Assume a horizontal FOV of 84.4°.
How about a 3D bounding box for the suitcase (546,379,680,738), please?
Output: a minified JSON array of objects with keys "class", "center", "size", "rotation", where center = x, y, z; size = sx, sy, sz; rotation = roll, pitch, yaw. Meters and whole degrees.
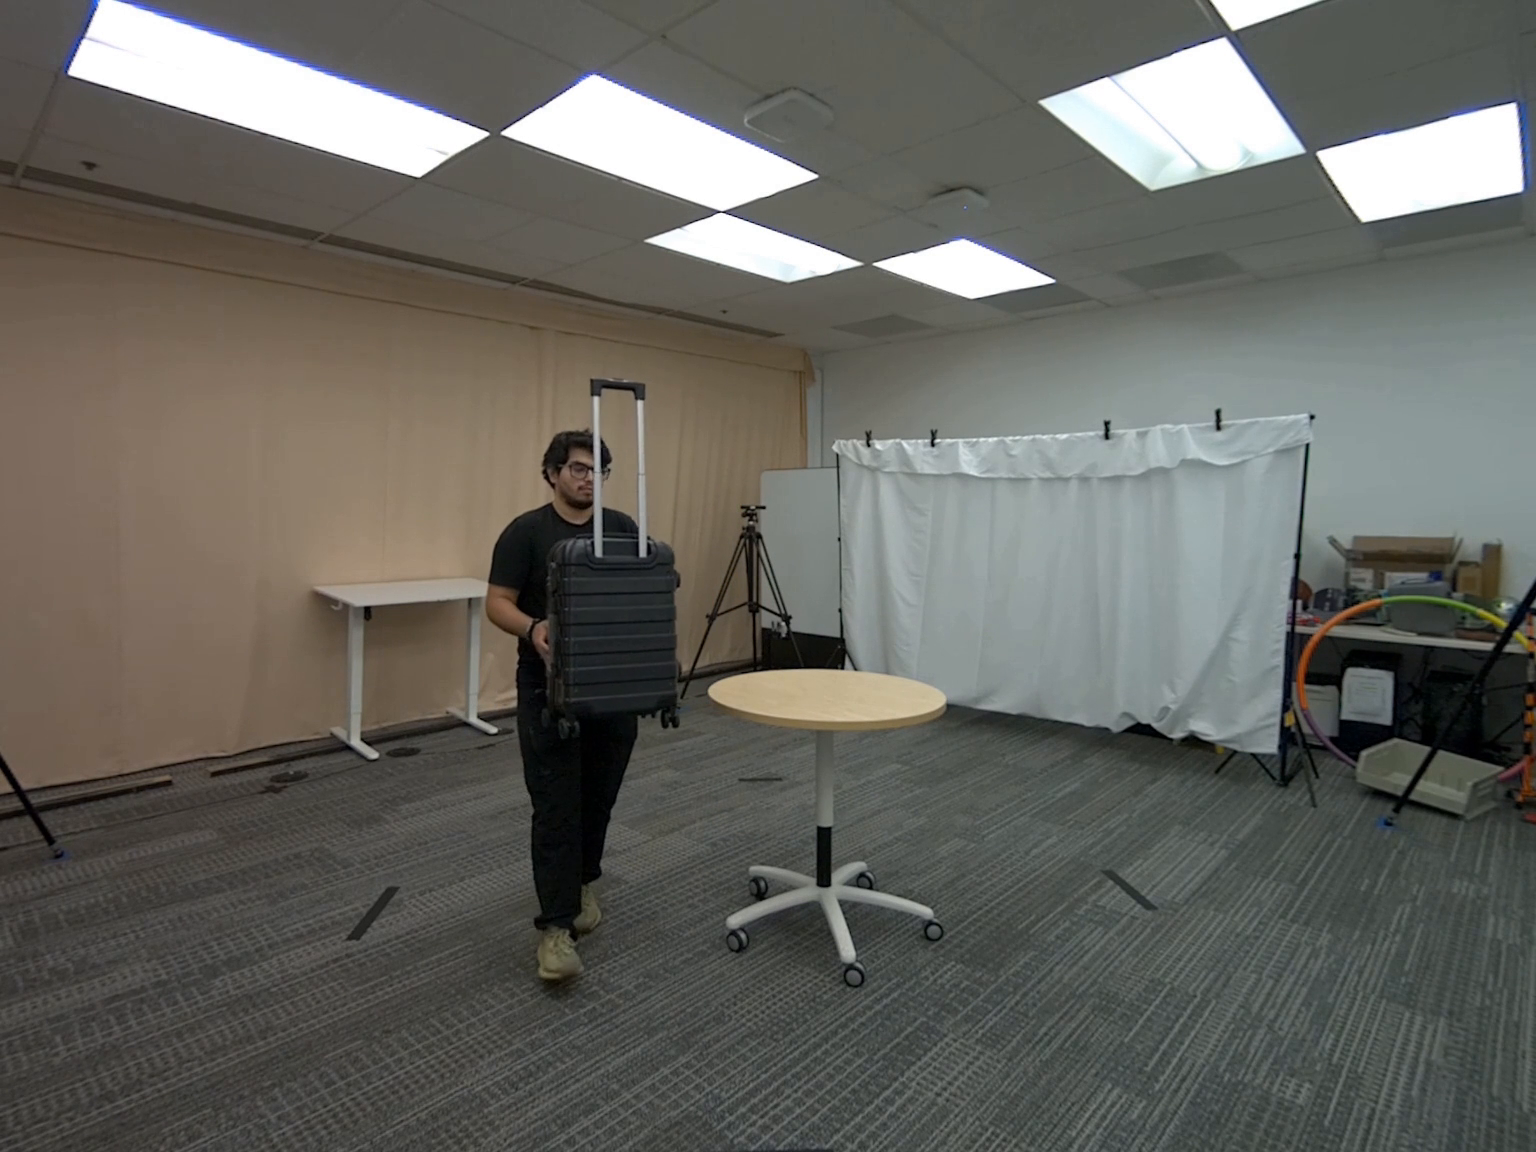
[{"class":"suitcase","center":[-0.459,-0.052,2.435],"size":[0.375,0.981,0.262],"rotation":[0,-4,-23]}]
